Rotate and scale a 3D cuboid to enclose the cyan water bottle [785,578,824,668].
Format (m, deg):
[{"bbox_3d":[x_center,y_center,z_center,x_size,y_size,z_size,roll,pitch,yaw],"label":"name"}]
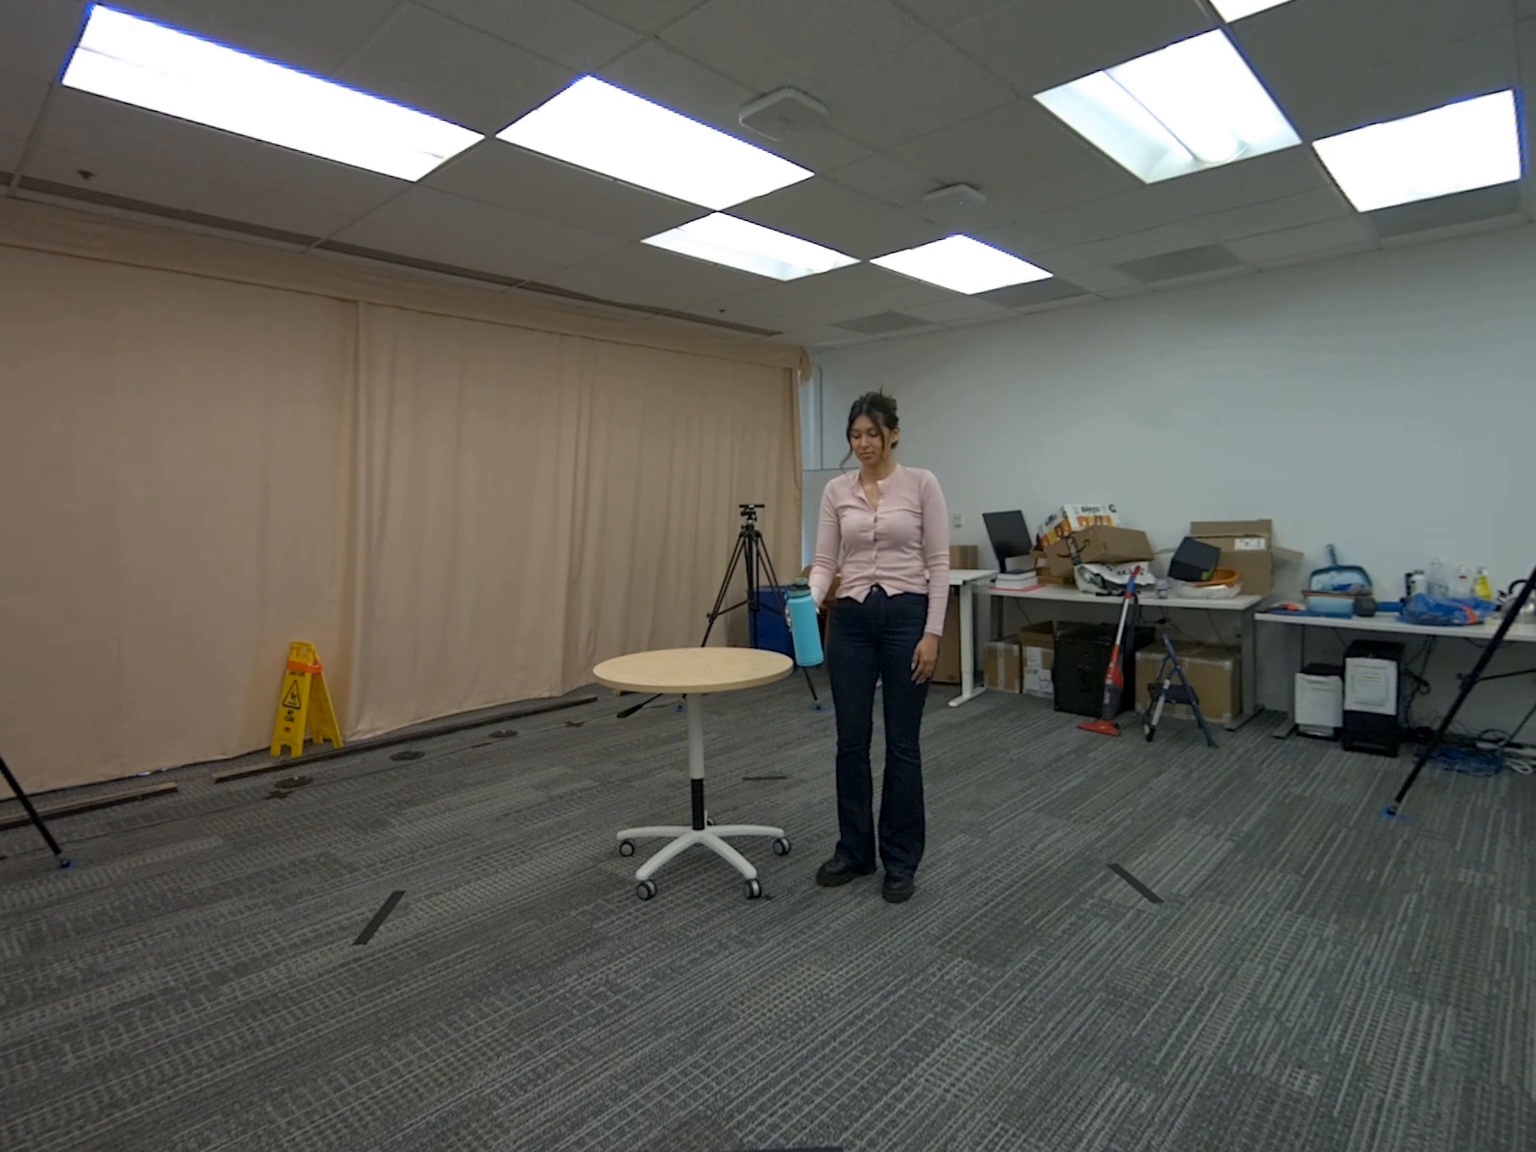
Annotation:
[{"bbox_3d":[0.122,0.151,2.793,0.092,0.281,0.093,-14,7,0],"label":"cyan water bottle"}]
